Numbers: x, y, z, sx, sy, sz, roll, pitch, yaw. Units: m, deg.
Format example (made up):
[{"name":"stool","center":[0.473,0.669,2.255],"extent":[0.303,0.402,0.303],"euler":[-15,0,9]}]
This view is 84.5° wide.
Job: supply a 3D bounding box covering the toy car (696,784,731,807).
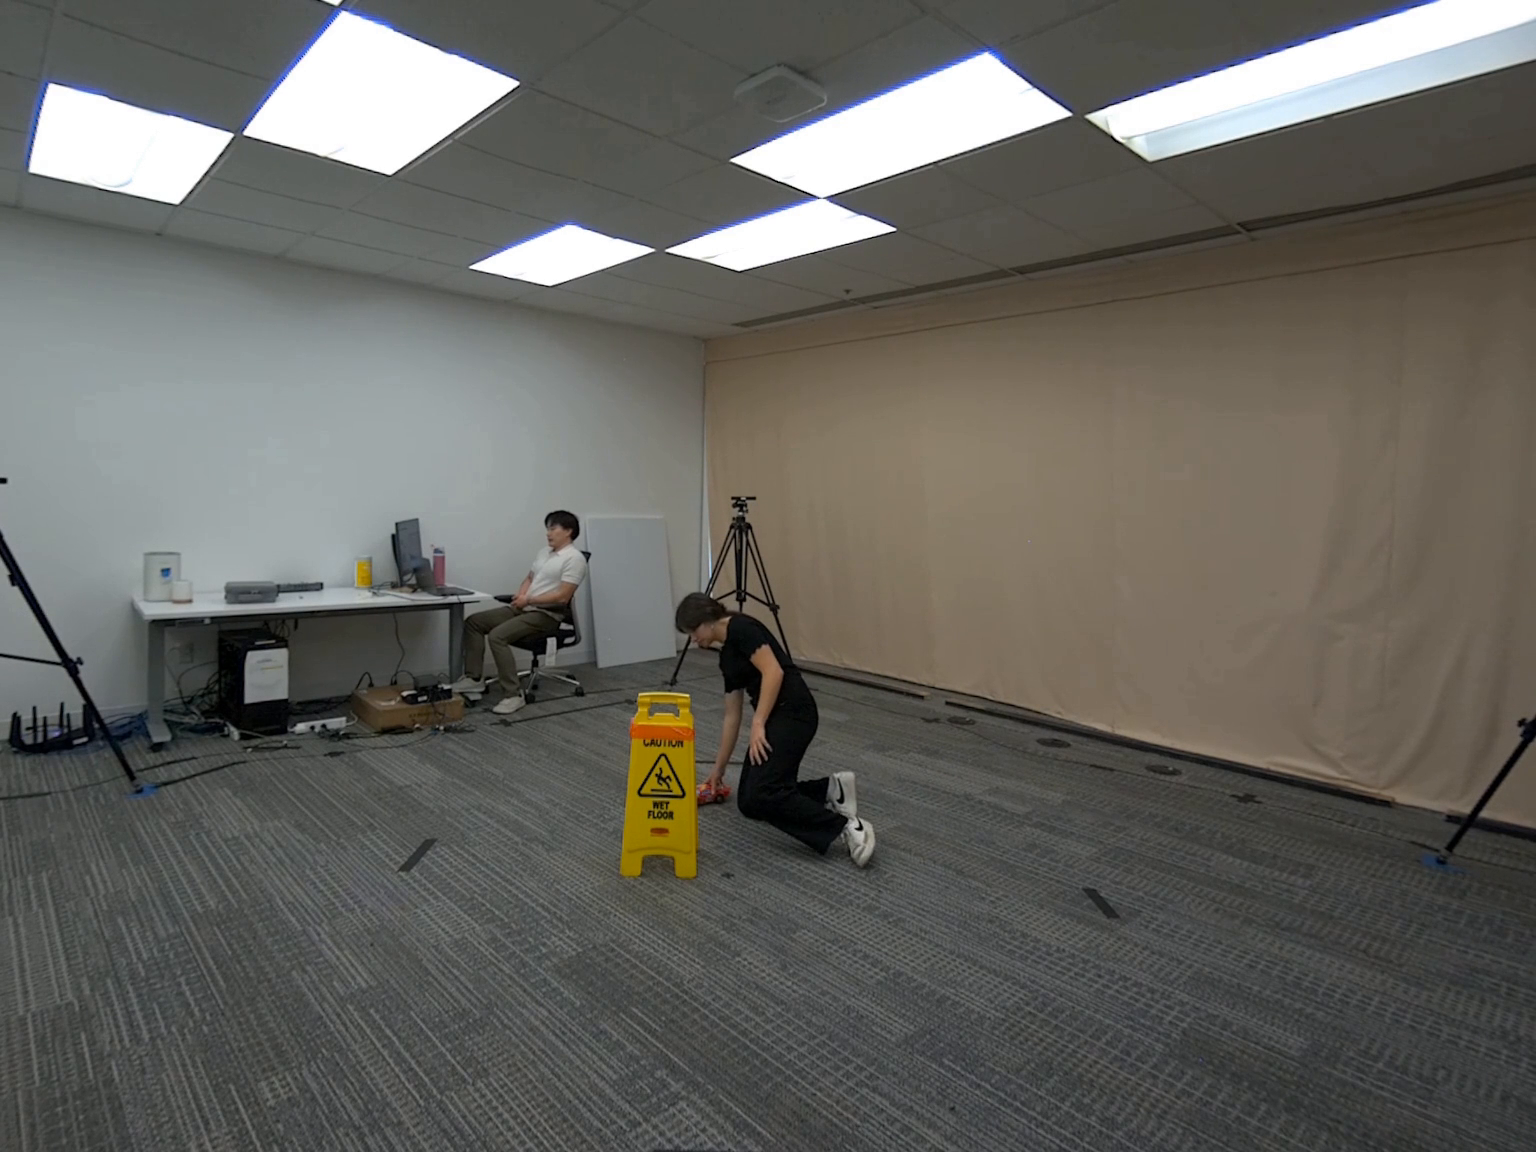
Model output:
[{"name":"toy car","center":[-0.298,1.004,3.857],"extent":[0.251,0.082,0.133],"euler":[-12,11,-27]}]
